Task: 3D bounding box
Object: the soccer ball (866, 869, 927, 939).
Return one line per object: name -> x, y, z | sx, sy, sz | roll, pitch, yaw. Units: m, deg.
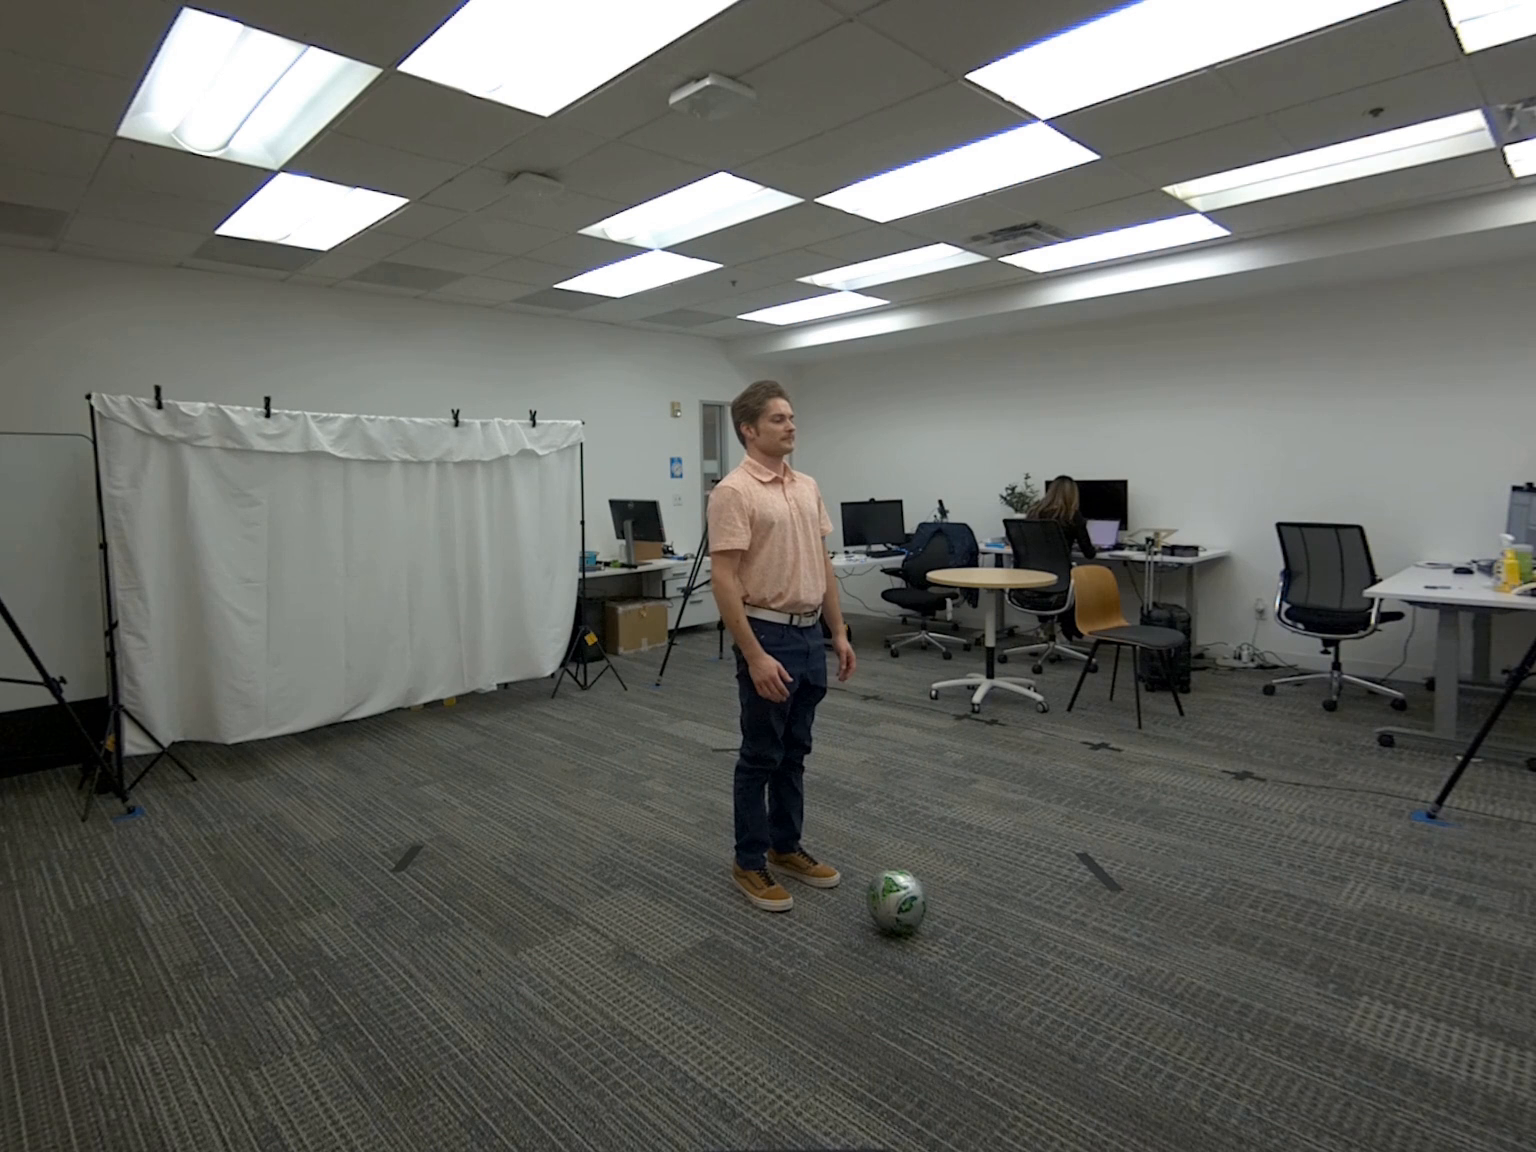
soccer ball -> 0.401, 1.007, 2.632 | 0.187, 0.187, 0.188 | -1, 5, -2
